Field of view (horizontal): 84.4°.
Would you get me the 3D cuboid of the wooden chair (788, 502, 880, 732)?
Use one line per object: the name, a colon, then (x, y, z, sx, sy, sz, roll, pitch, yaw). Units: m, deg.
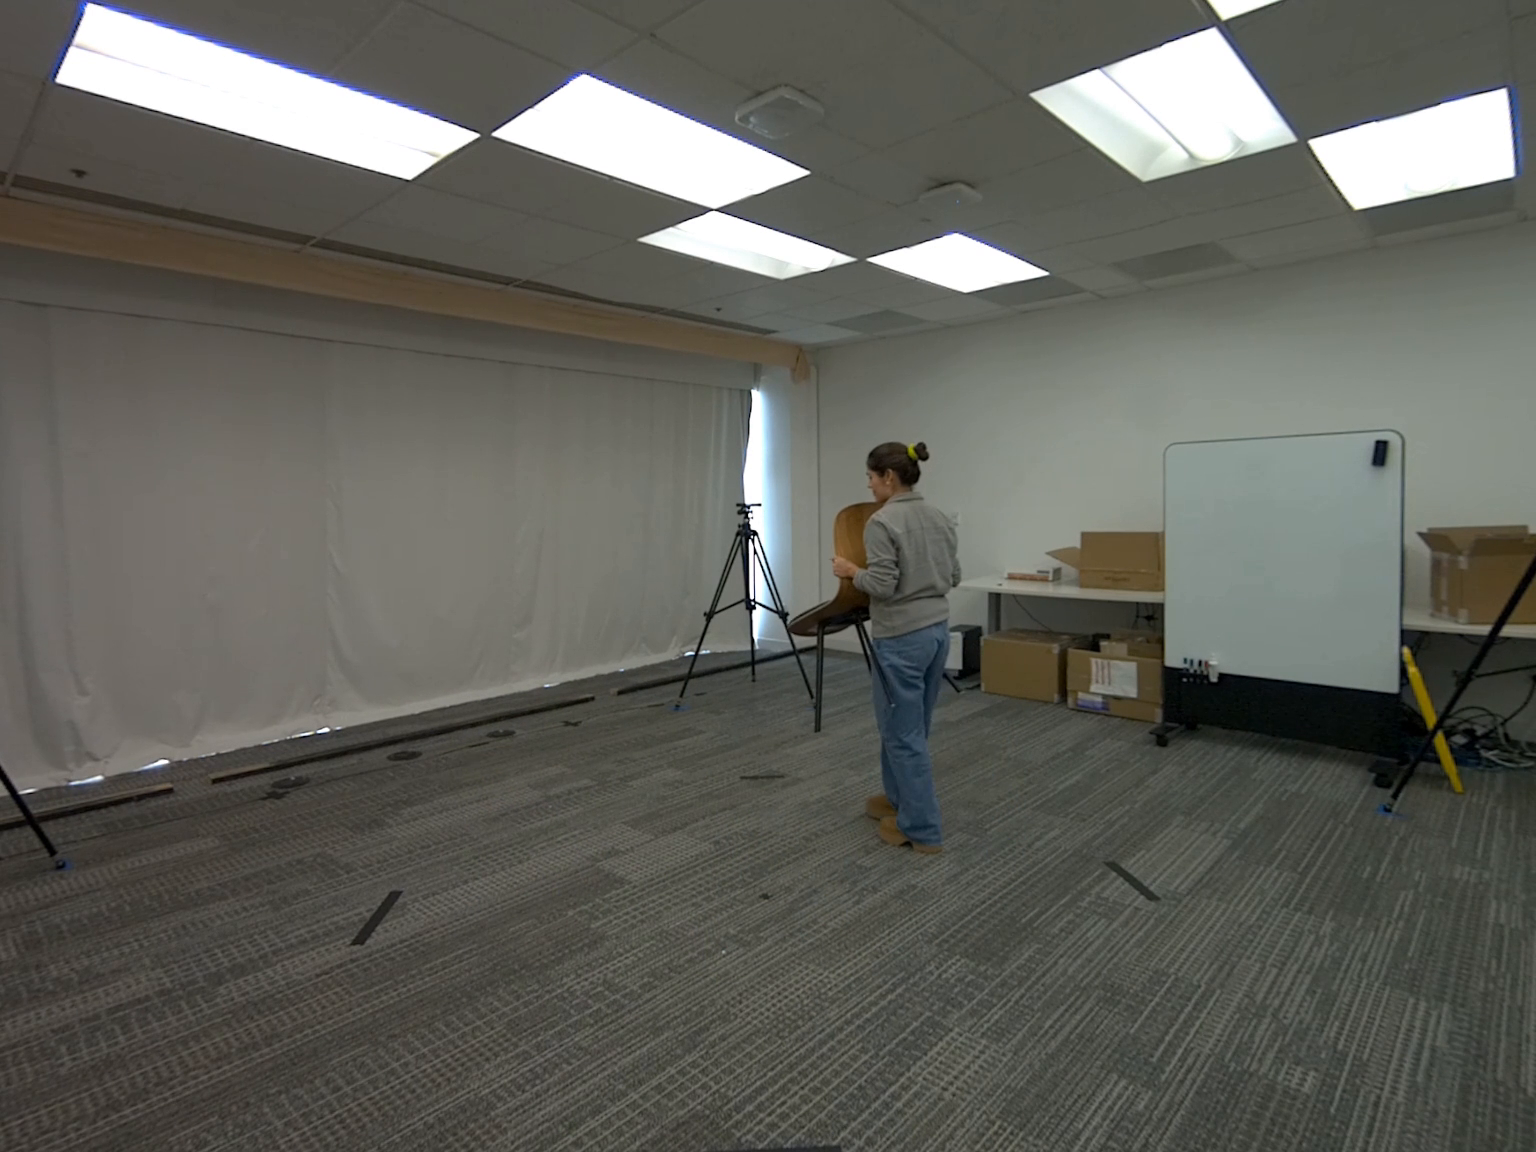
wooden chair: (0.375, 0.185, 3.644, 0.463, 0.888, 0.533, -2, -18, -41)
